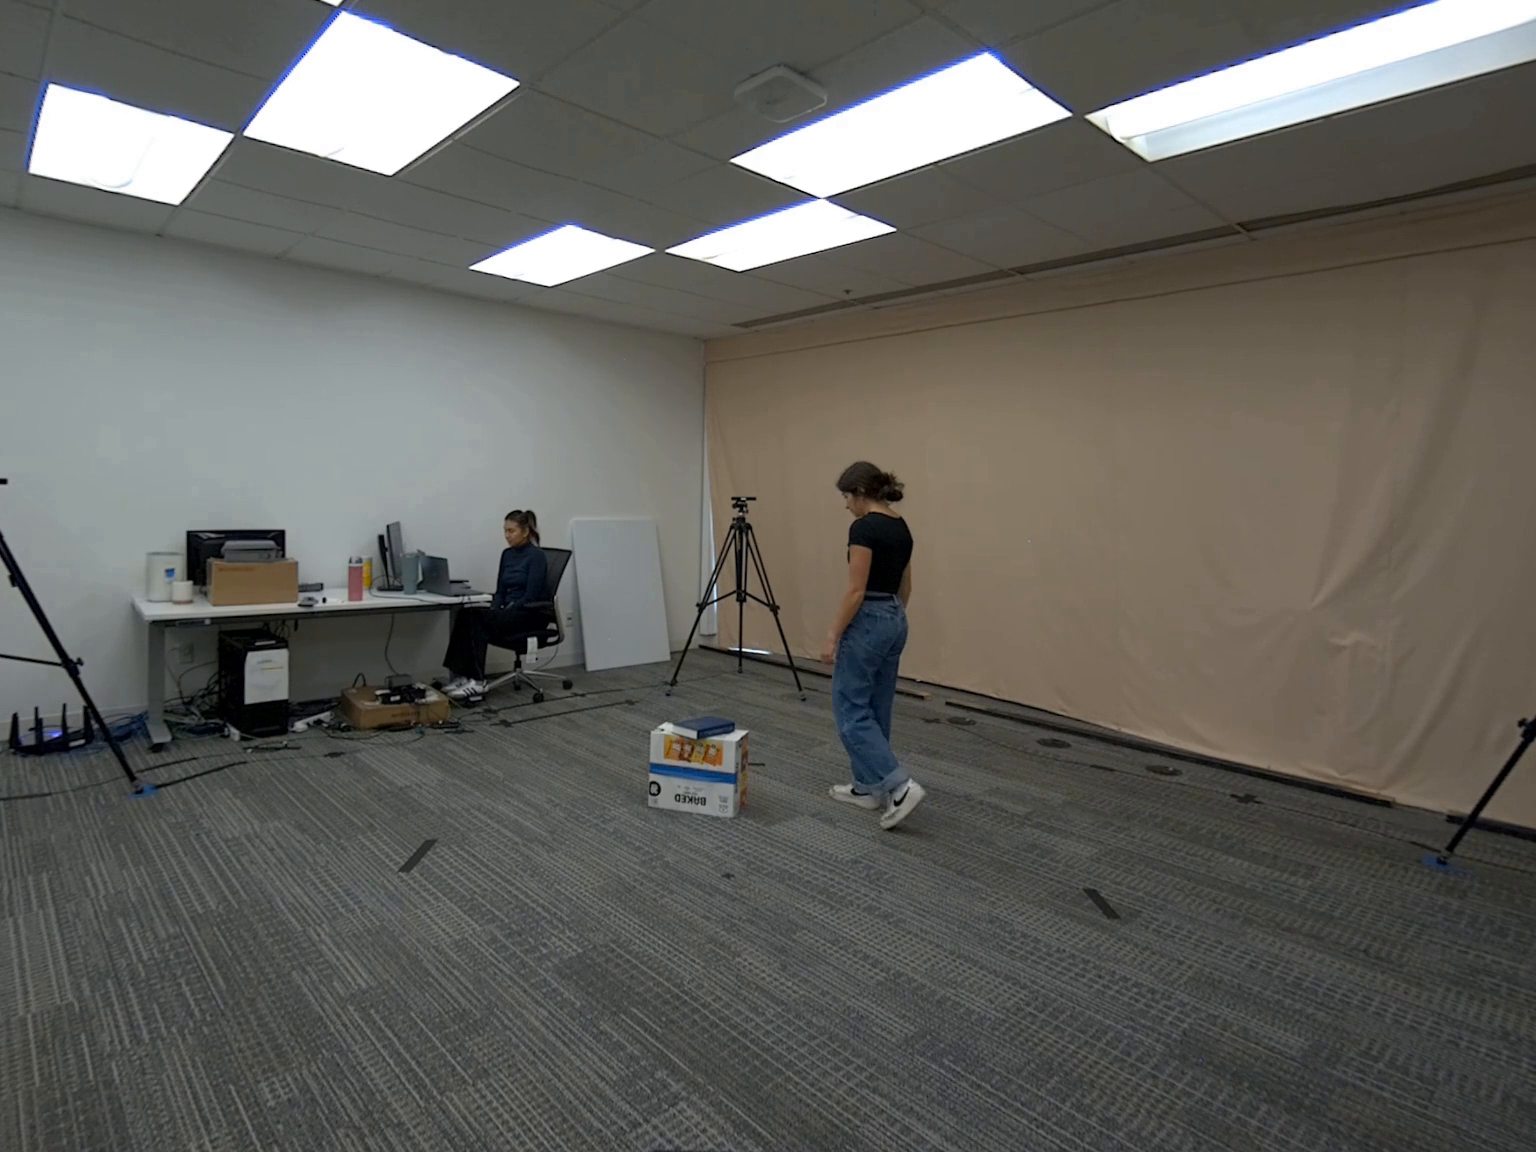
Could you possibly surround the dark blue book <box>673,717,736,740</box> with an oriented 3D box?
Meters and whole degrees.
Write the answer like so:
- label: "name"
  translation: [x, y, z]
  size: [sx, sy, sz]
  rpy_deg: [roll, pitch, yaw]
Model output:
- label: "dark blue book"
  translation: [-0.293, 0.678, 3.791]
  size: [0.167, 0.045, 0.239]
  rpy_deg: [5, 5, 41]
